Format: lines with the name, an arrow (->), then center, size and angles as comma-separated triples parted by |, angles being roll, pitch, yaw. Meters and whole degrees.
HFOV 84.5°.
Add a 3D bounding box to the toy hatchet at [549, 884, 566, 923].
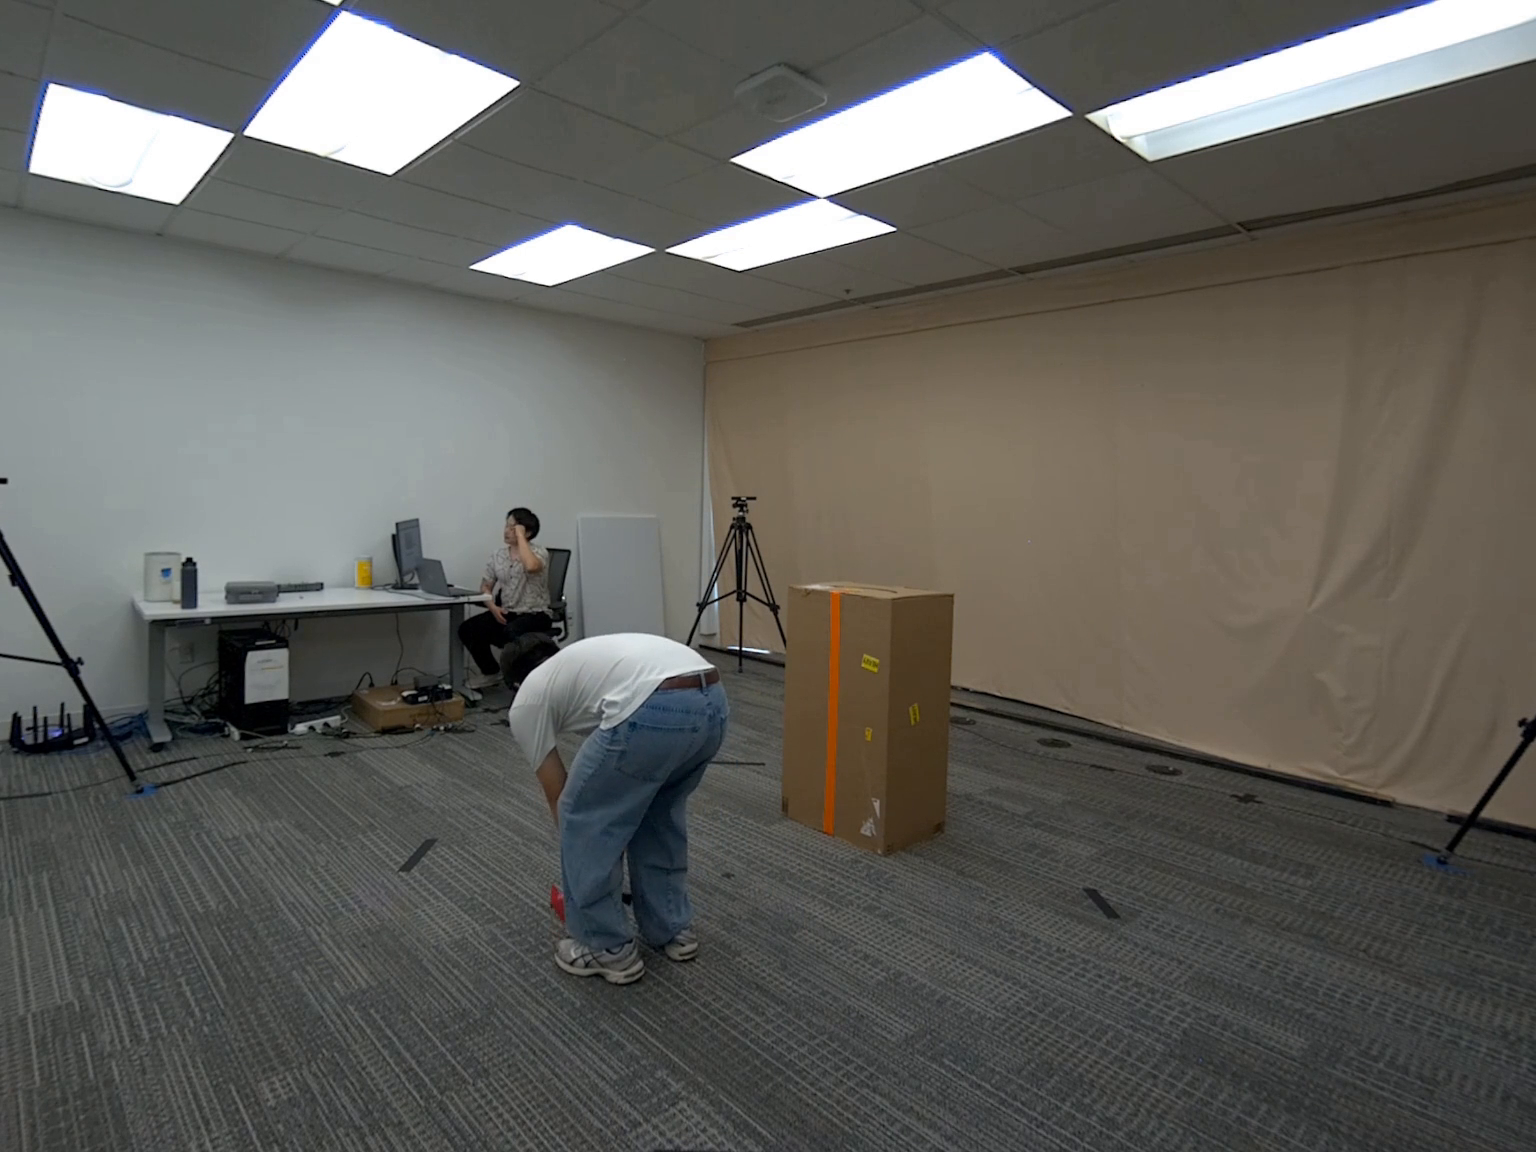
toy hatchet -> -0.562, 1.043, 2.656 | 0.273, 0.130, 0.029 | 9, 16, 14
